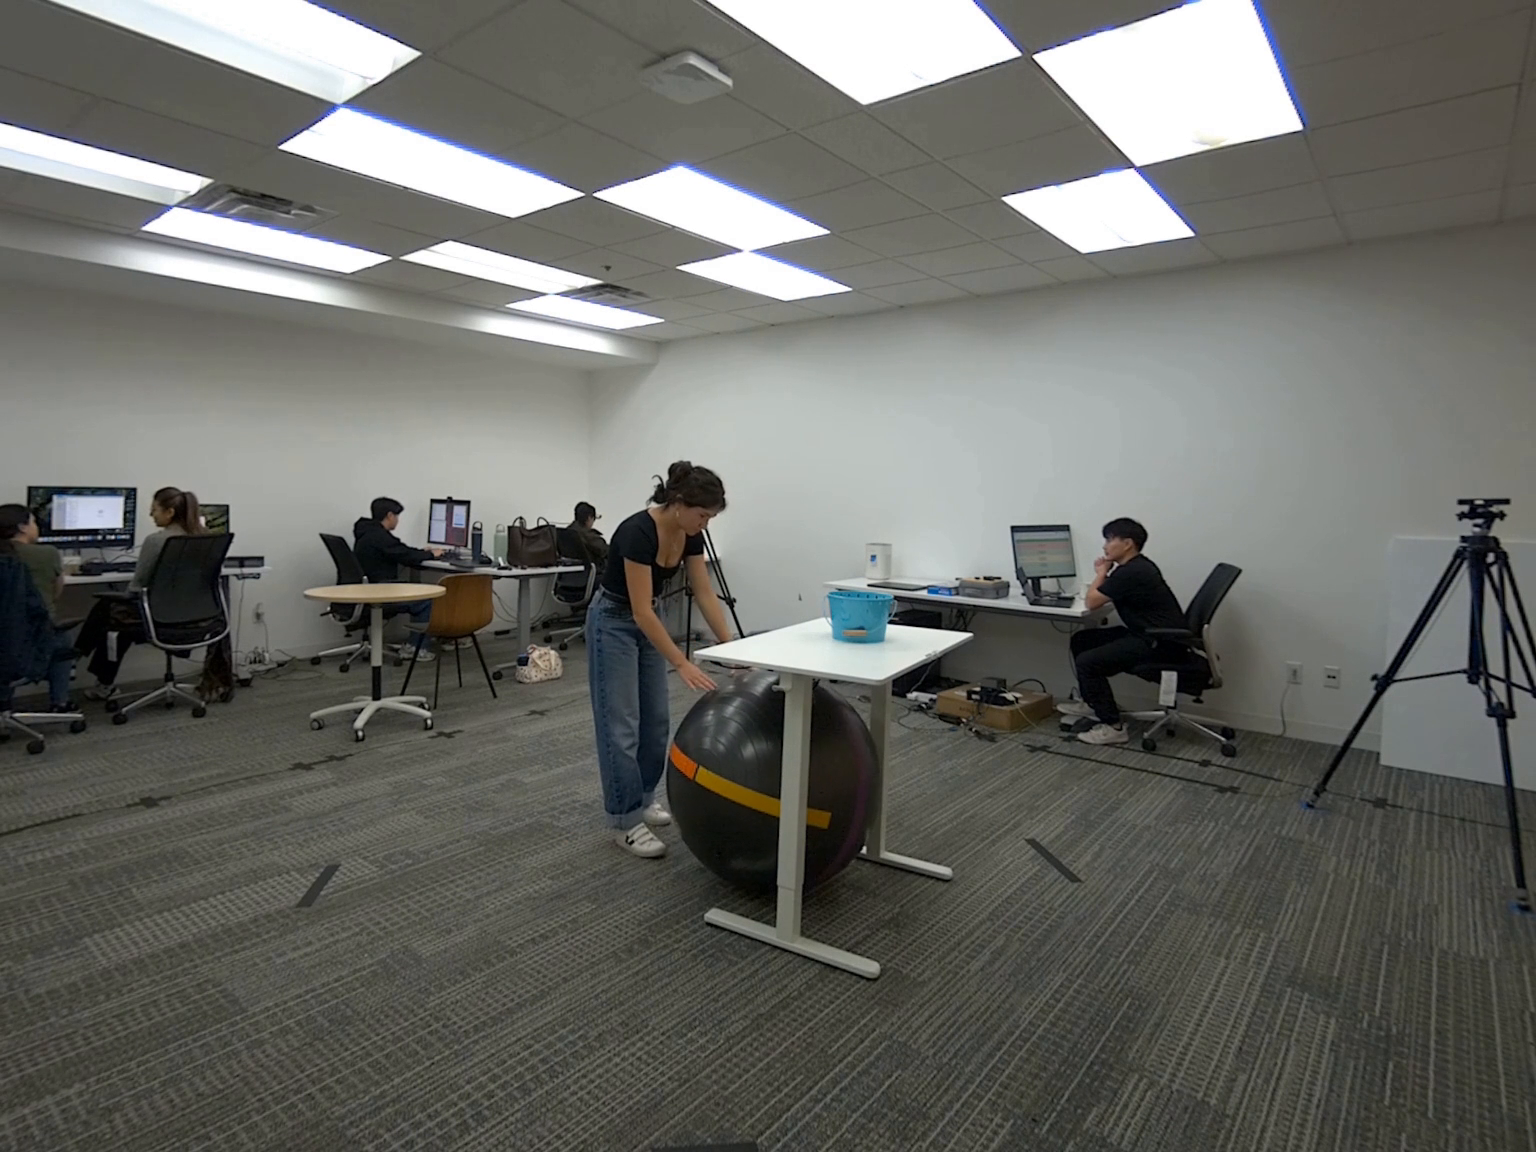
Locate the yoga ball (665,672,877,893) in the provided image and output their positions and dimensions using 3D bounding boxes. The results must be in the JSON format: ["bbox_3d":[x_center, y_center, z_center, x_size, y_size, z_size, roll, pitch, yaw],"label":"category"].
[{"bbox_3d":[0.011,0.716,3.007,0.757,0.756,0.762,1,4,-2],"label":"yoga ball"}]
